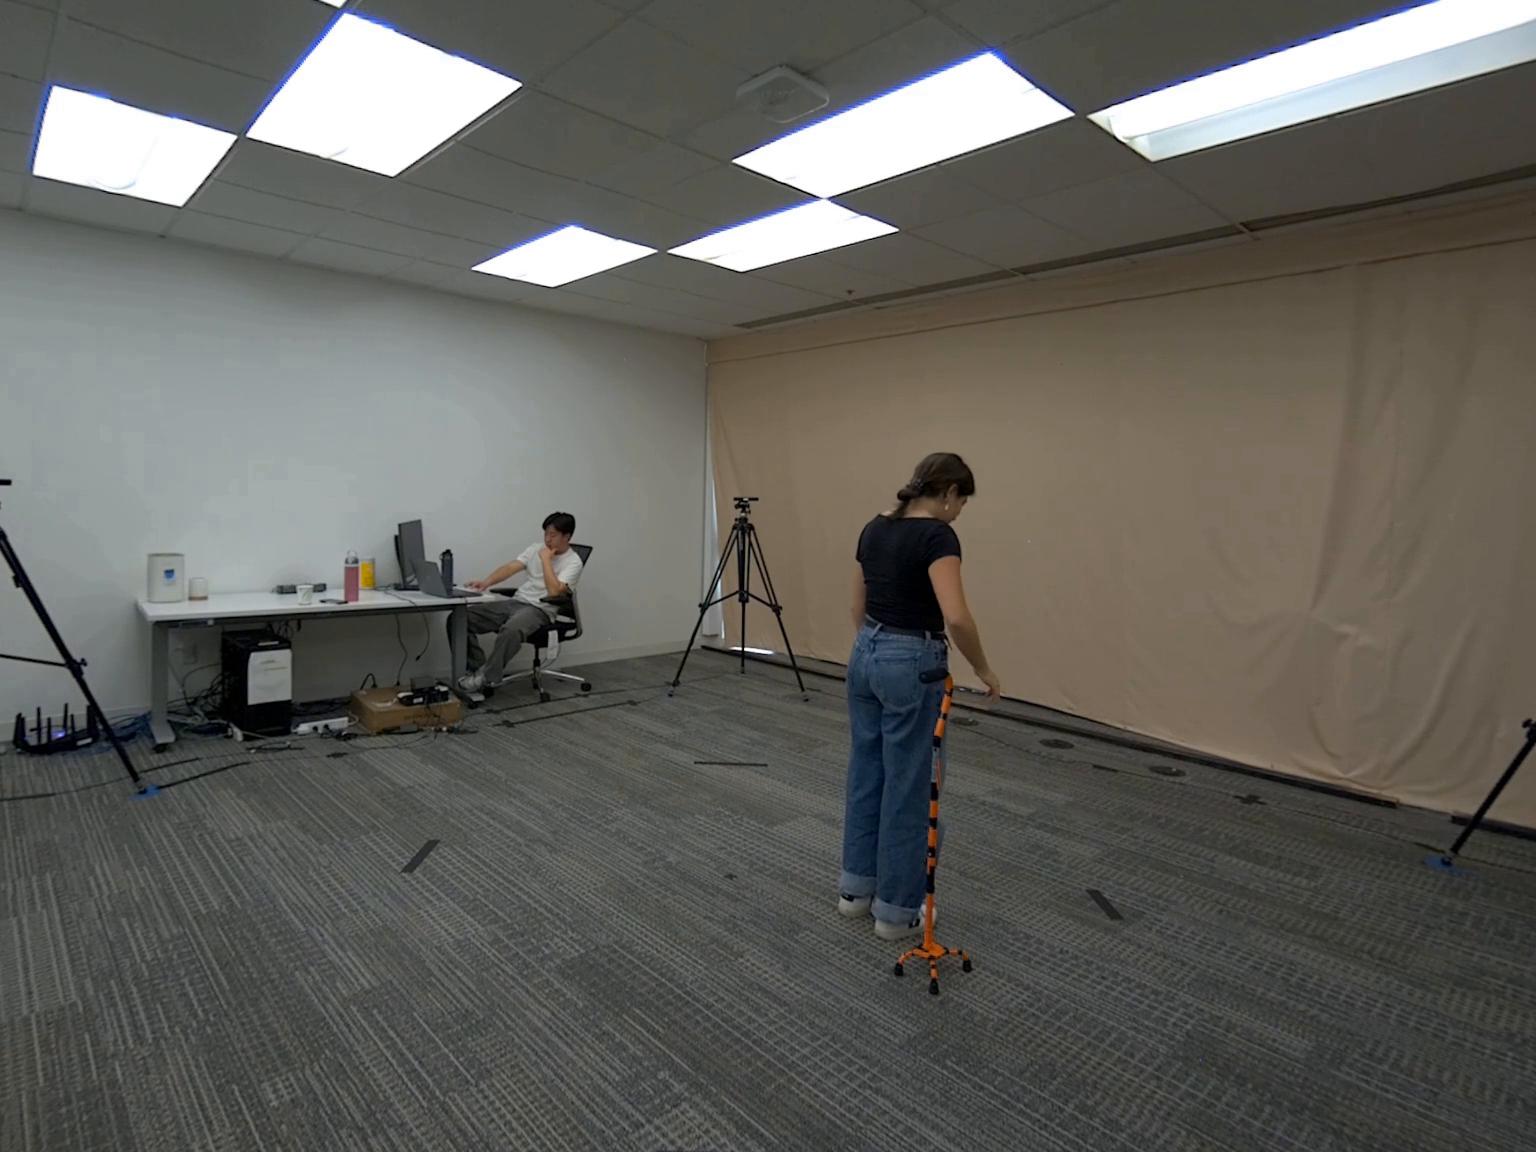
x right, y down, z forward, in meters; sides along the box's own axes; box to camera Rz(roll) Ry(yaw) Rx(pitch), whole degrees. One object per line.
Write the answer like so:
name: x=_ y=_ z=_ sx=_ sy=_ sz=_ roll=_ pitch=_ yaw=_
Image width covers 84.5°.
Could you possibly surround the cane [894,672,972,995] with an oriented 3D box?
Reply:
cane: x=0.495 y=0.735 z=2.468 sx=0.155 sy=0.906 sz=0.202 roll=4 pitch=4 yaw=44
